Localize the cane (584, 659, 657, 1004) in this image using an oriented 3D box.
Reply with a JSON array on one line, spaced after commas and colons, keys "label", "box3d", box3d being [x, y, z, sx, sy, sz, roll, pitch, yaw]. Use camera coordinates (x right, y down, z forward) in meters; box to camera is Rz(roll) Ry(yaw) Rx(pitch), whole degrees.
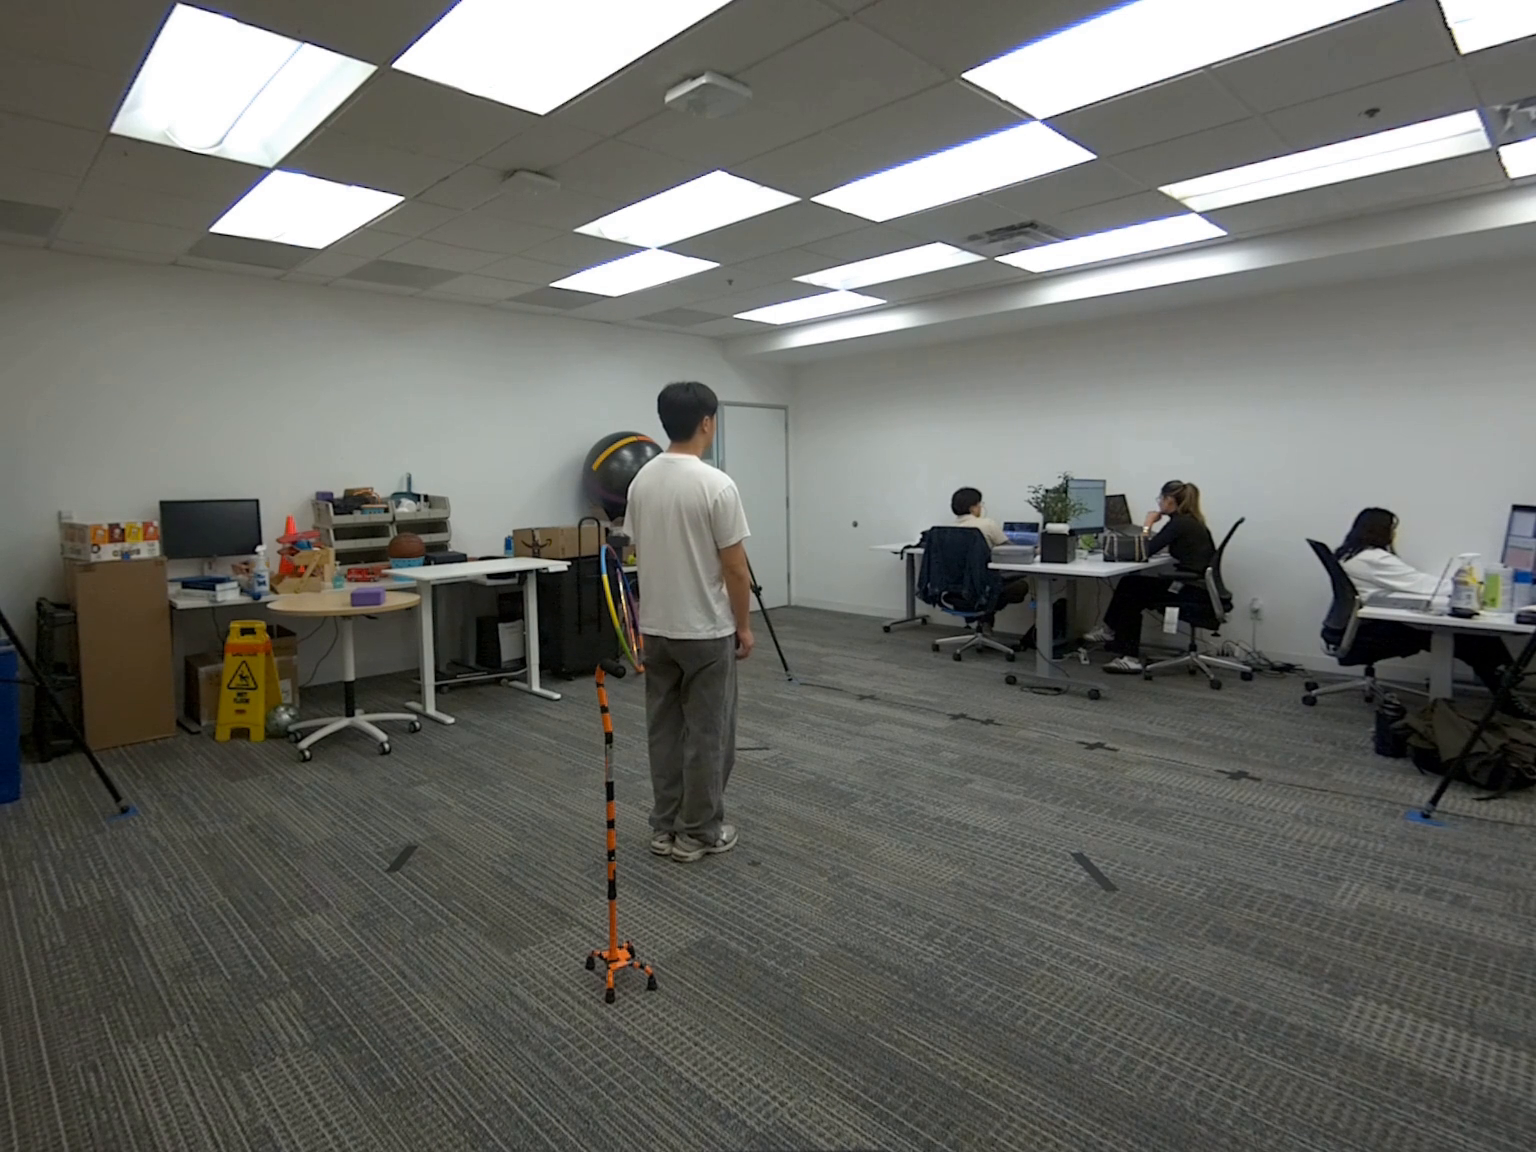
[{"label": "cane", "box3d": [-0.429, 0.692, 2.383, 0.148, 0.905, 0.212, -3, 4, -27]}]
